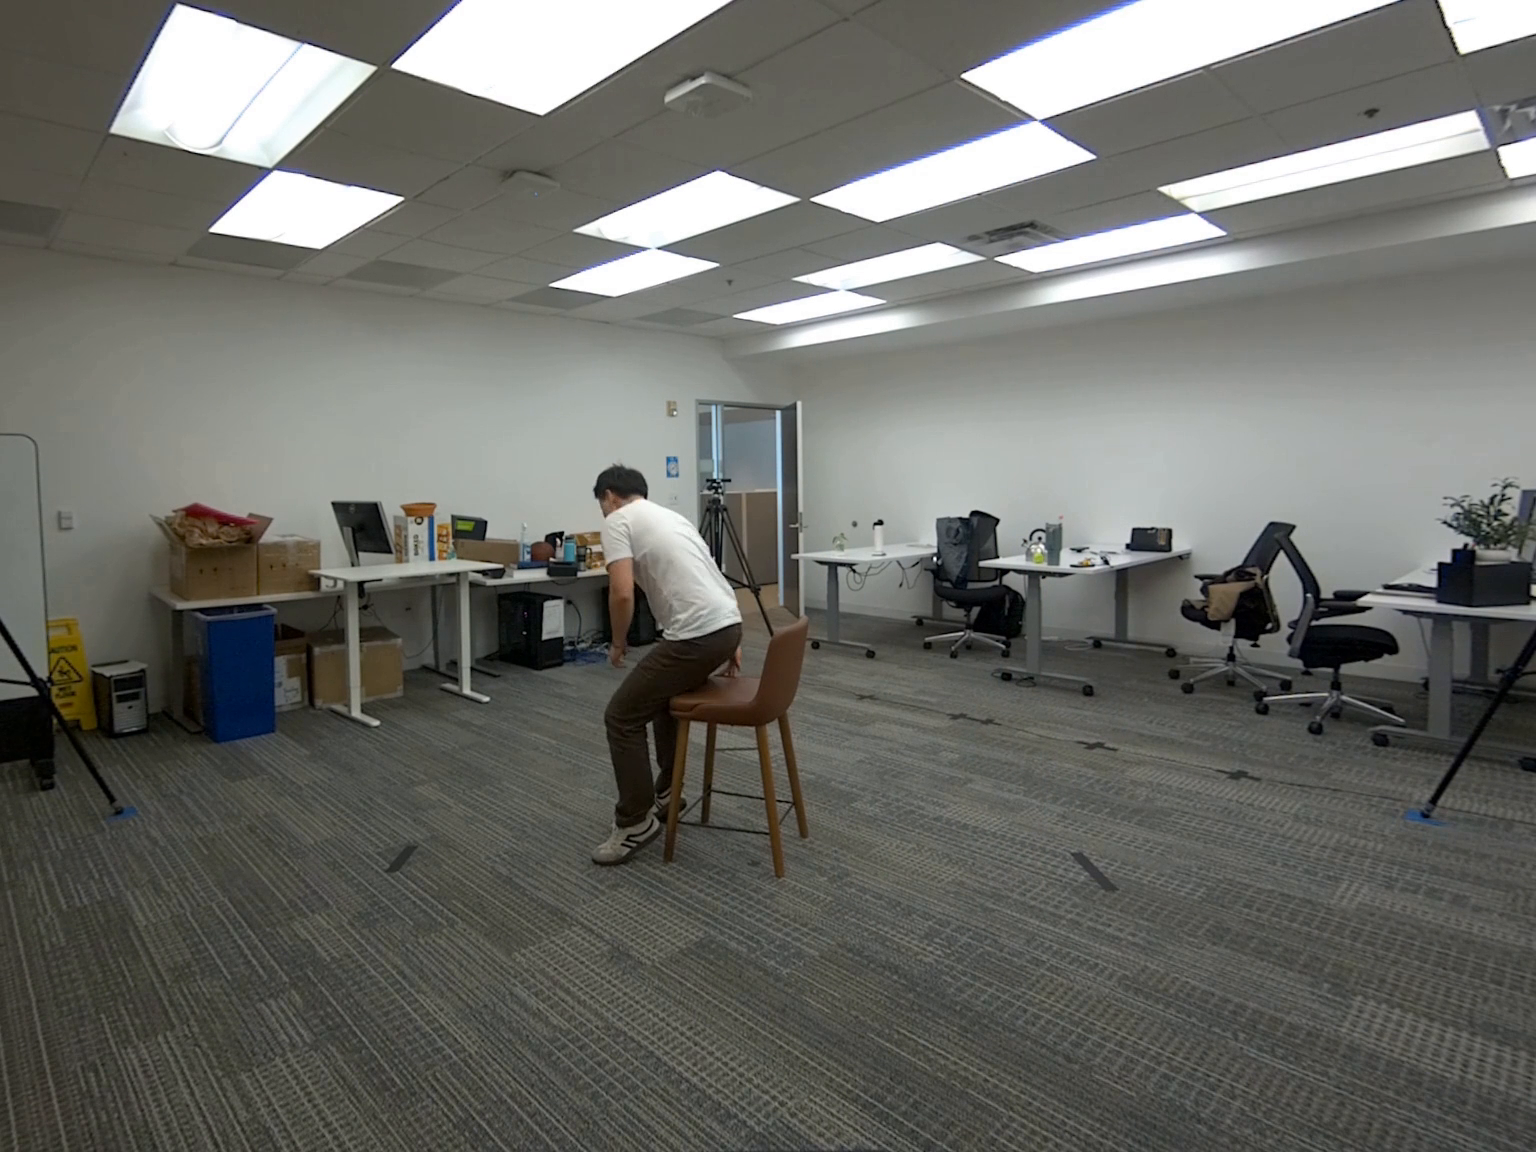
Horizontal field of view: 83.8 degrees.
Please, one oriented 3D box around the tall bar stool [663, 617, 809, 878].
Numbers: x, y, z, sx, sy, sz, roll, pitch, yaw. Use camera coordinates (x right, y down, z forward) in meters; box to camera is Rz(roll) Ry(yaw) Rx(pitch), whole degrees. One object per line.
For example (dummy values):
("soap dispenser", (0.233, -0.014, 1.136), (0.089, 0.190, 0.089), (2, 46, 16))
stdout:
("tall bar stool", (-0.106, 0.600, 3.211), (0.477, 0.886, 0.449), (3, 5, 20))
